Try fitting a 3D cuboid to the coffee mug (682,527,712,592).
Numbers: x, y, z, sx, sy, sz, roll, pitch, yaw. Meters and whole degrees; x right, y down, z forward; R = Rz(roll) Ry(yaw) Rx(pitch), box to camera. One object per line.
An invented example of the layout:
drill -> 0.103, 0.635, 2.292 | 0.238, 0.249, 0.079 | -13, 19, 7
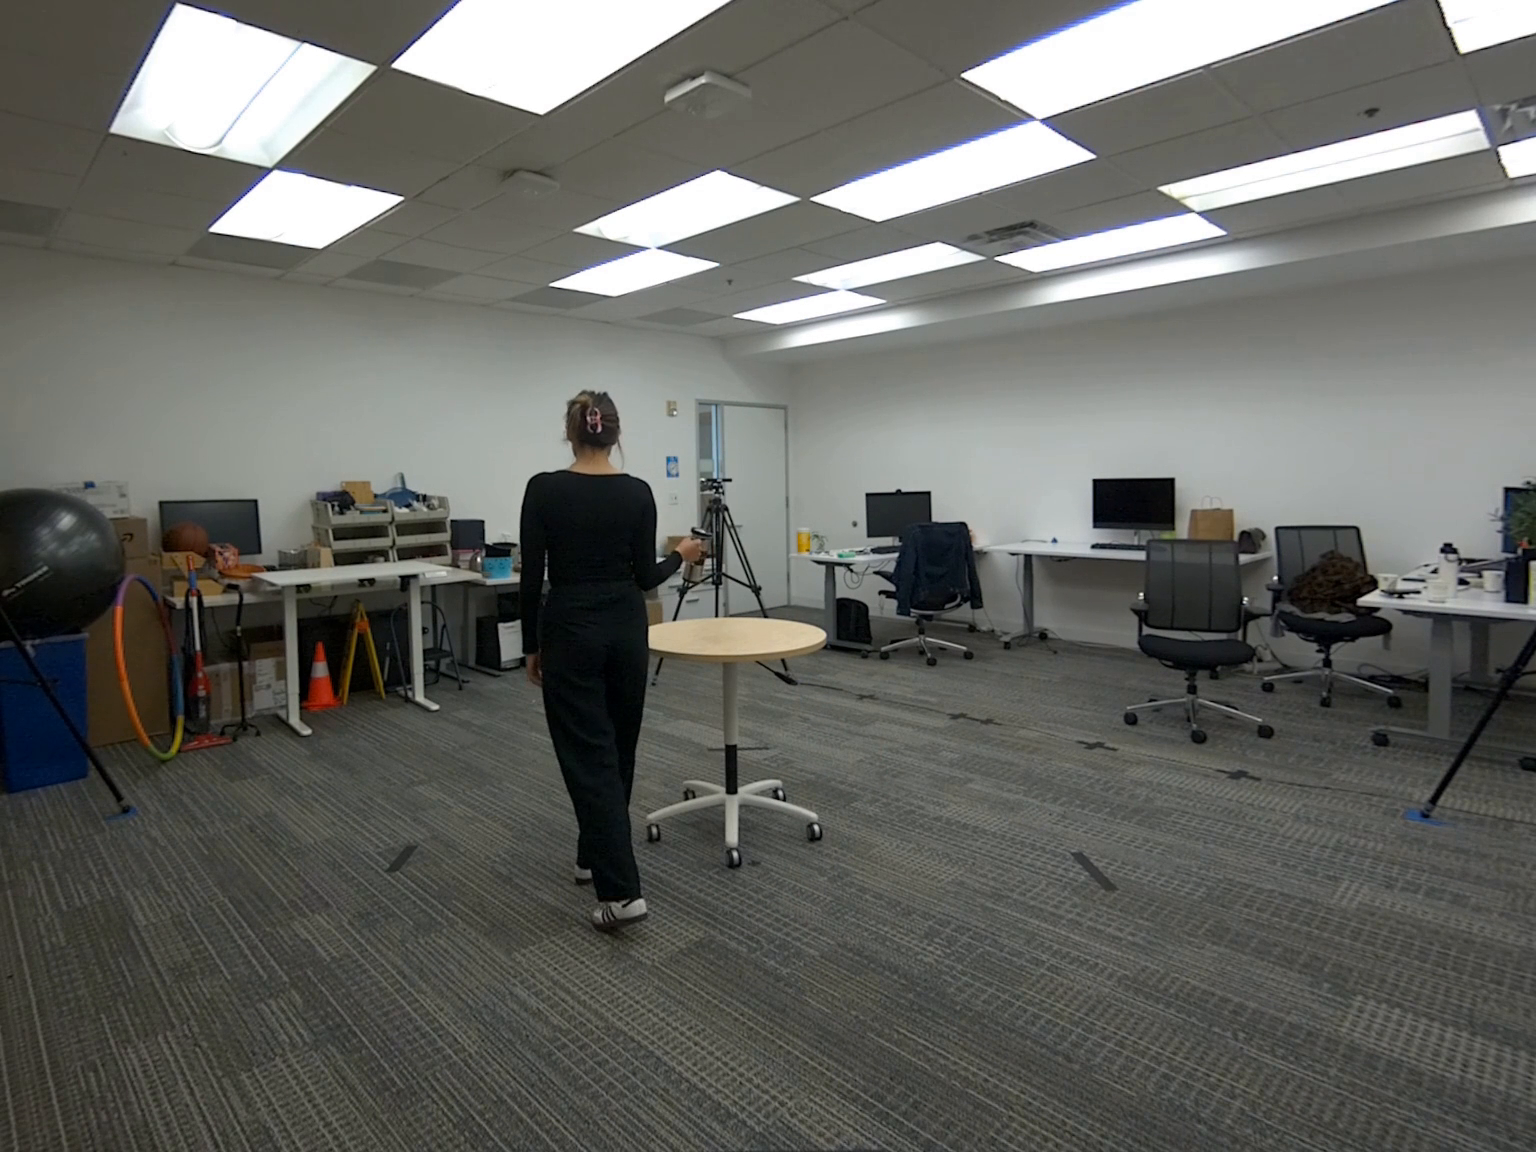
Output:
coffee mug -> -0.280, -0.076, 3.210 | 0.091, 0.201, 0.119 | 22, 13, 32
